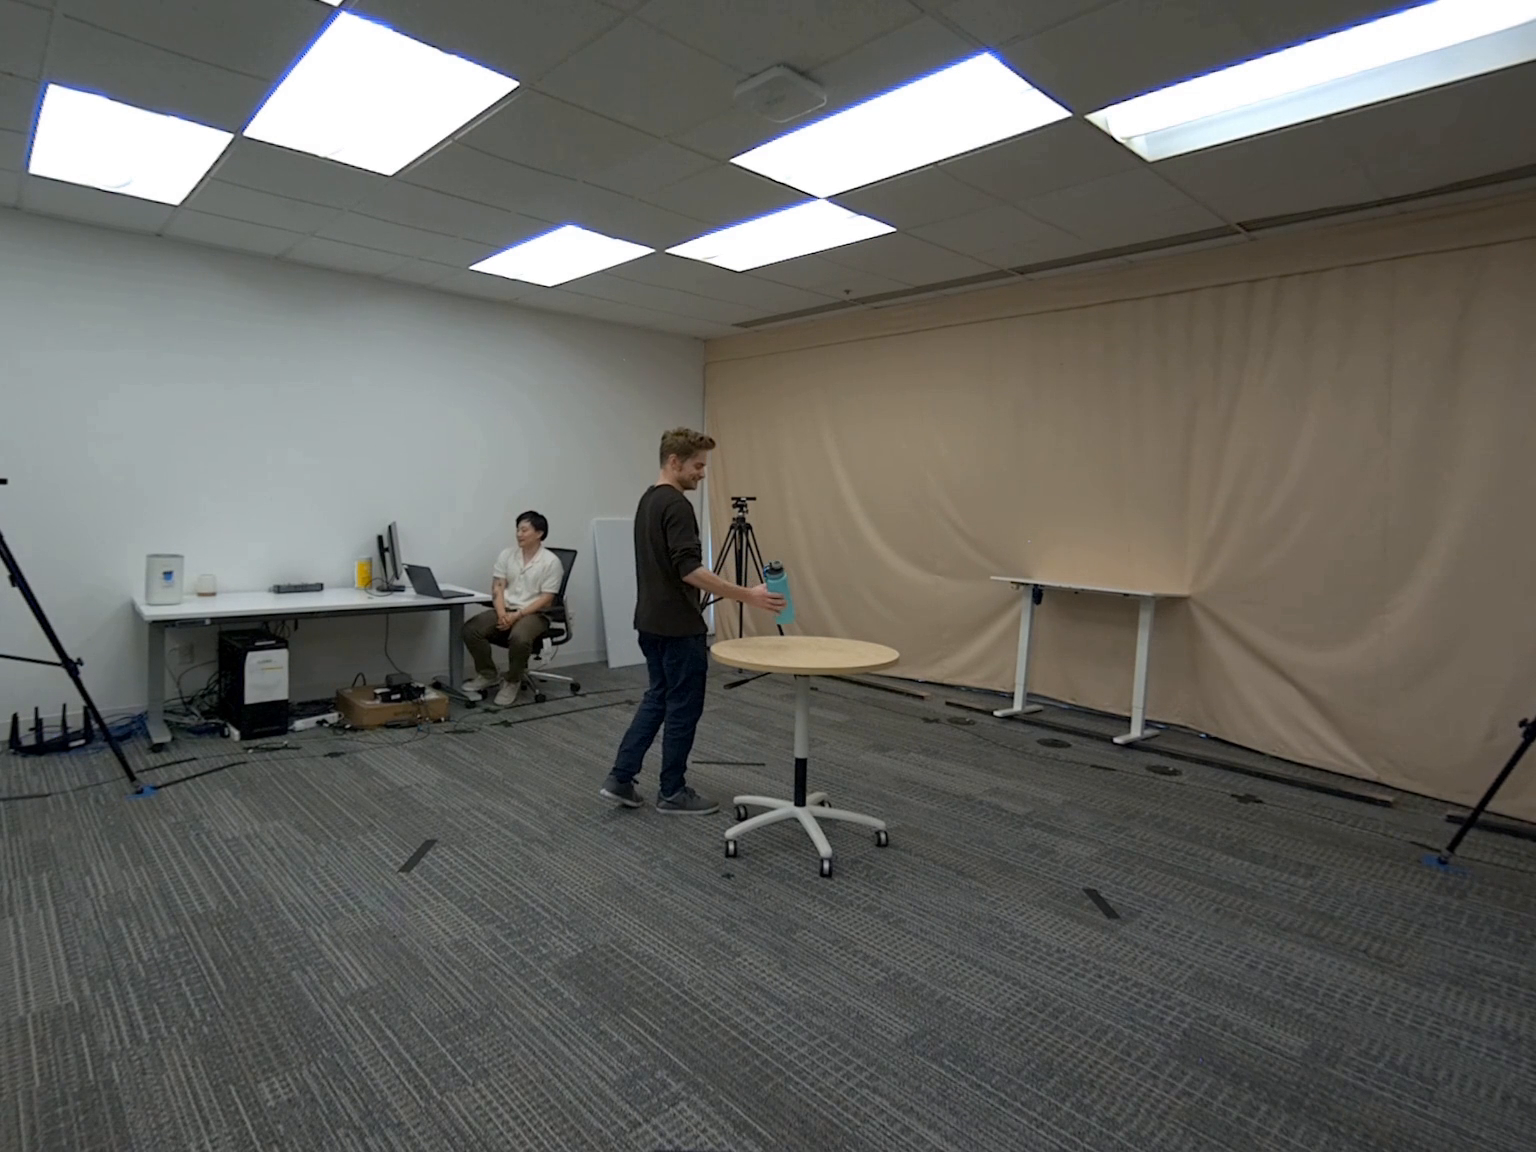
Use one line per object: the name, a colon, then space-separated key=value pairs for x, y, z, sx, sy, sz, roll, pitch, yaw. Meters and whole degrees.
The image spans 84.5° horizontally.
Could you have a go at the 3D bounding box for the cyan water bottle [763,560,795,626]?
cyan water bottle: x=0.027 y=0.063 z=3.454 sx=0.093 sy=0.276 sz=0.094 roll=-10 pitch=34 yaw=5
